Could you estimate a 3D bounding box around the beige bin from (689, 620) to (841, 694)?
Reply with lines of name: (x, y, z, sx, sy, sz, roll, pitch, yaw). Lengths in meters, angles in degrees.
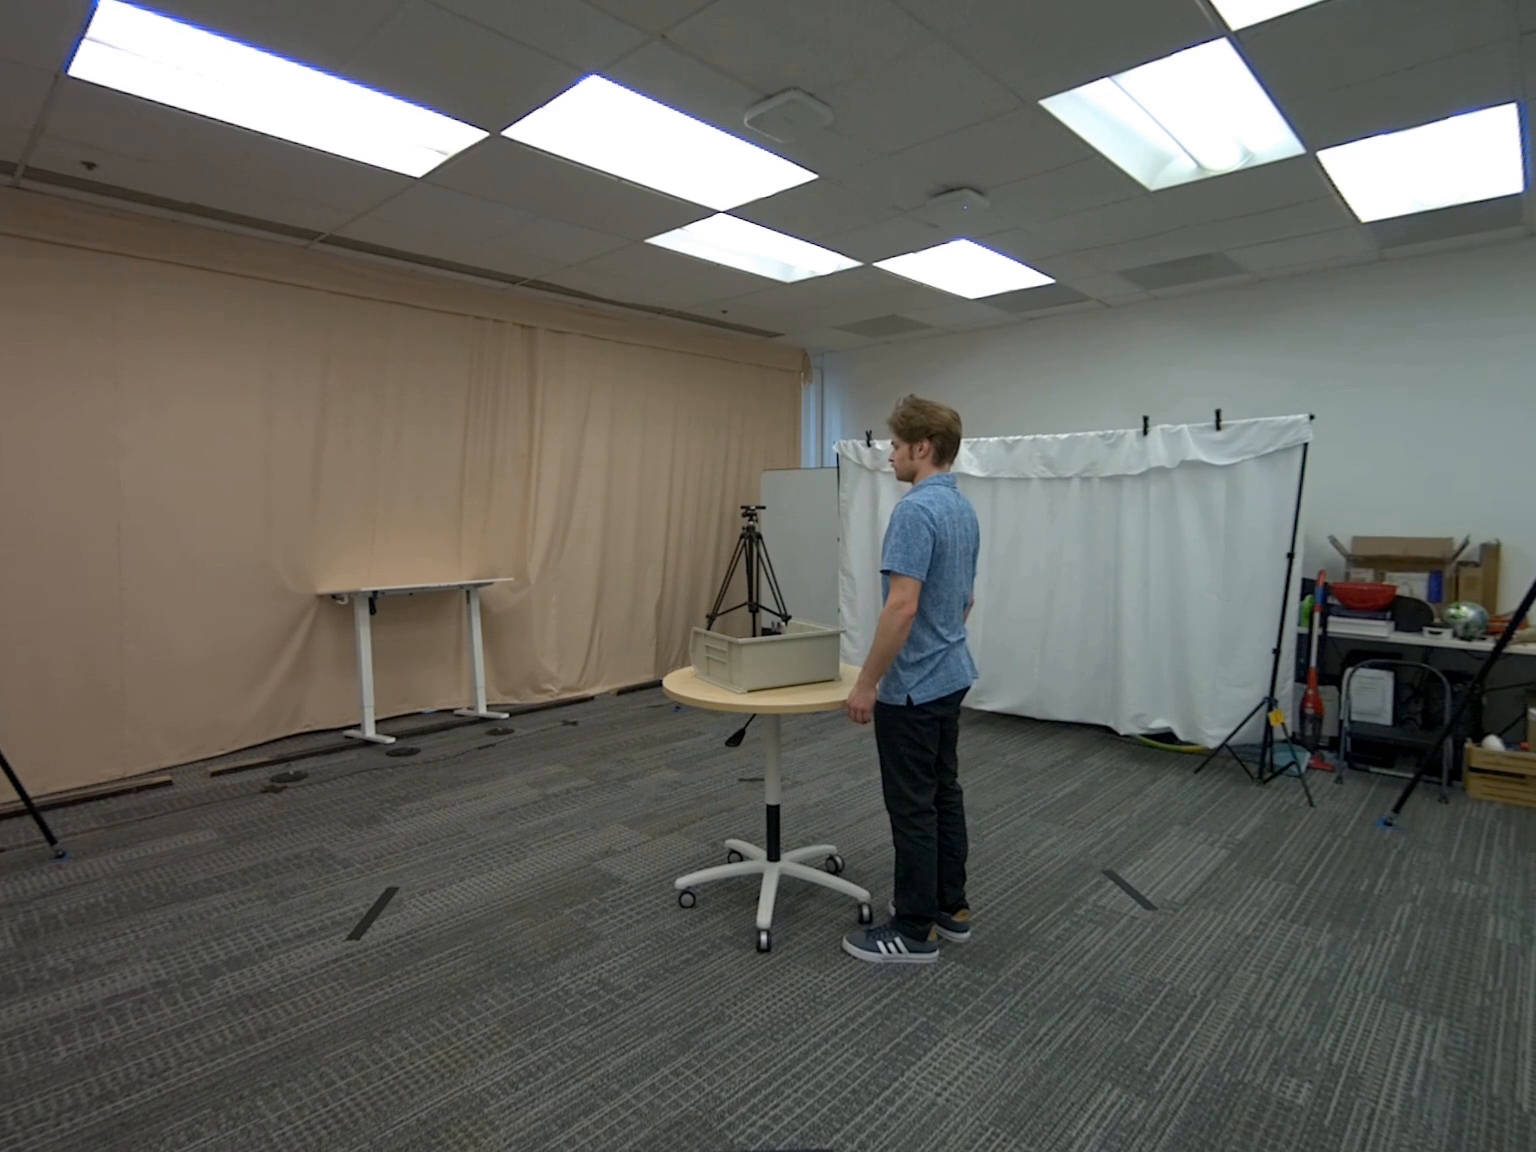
beige bin: (-0.003, 0.270, 2.945, 0.411, 0.188, 0.388, -3, 6, -28)
